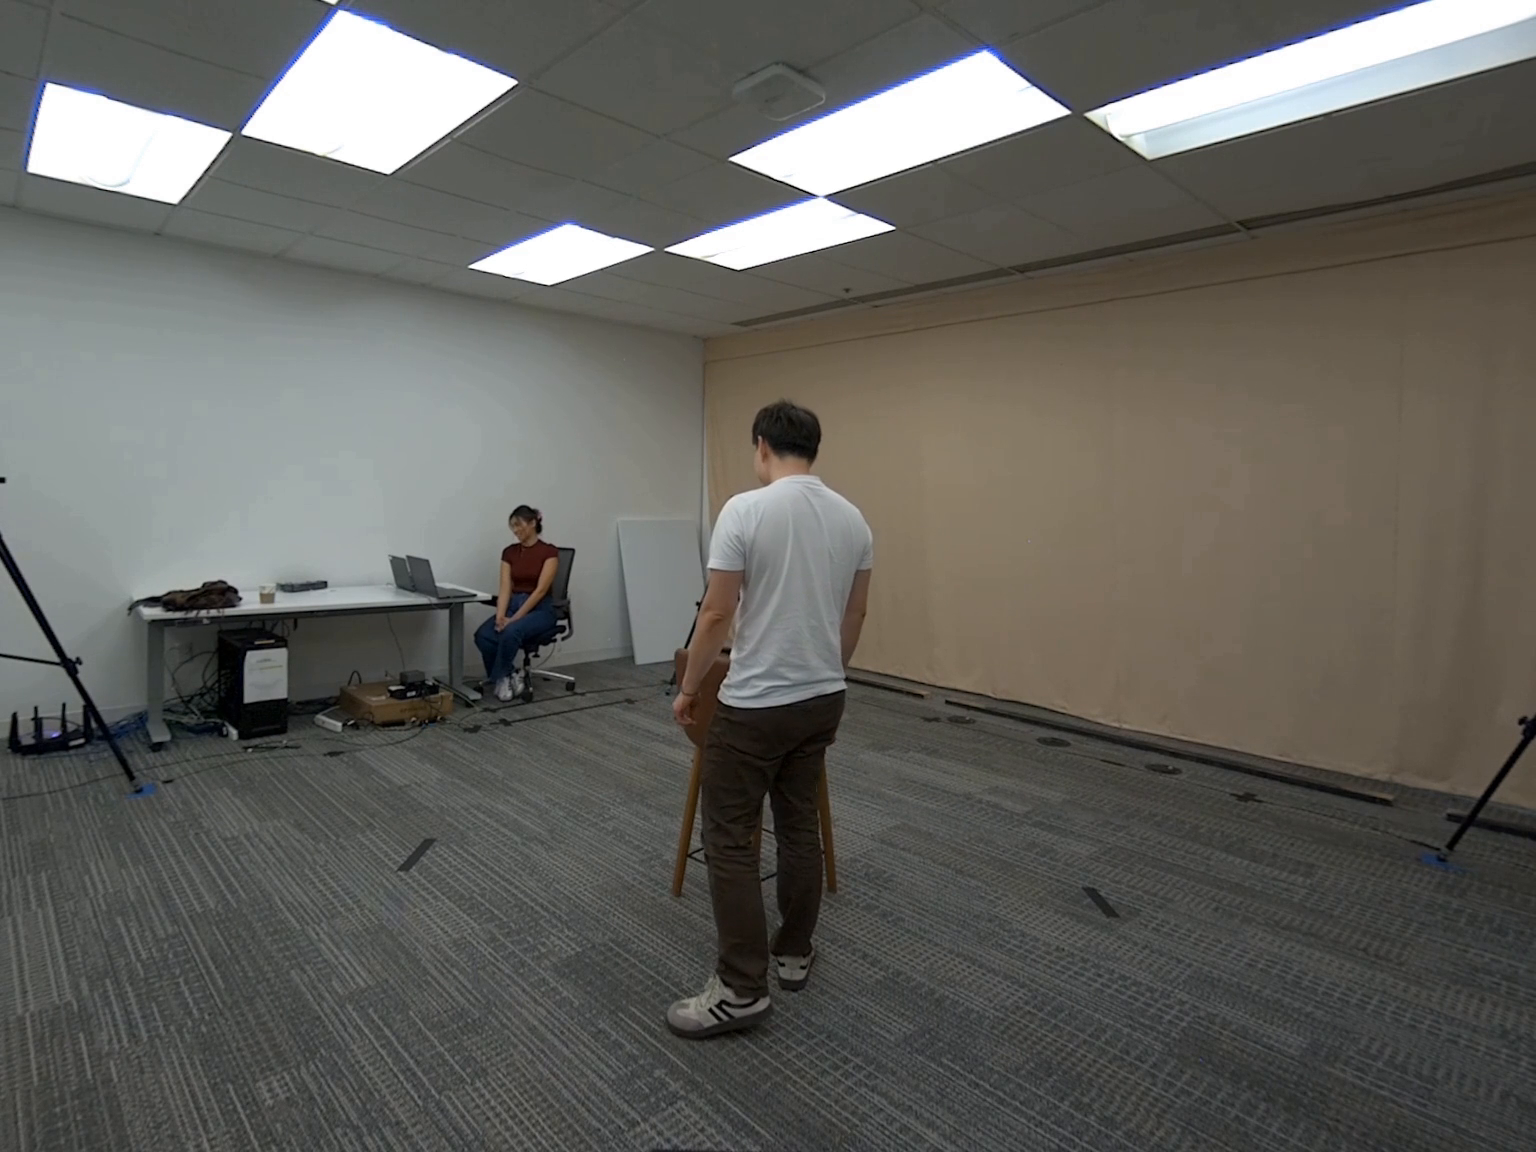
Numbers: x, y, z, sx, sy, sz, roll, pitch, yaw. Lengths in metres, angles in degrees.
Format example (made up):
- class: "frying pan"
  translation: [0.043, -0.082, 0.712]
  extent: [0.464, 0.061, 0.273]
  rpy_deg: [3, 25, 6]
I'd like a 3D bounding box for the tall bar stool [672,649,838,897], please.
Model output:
- class: "tall bar stool"
  translation: [-0.053, 0.685, 2.936]
  extent: [0.468, 0.886, 0.457]
  rpy_deg: [4, 7, 43]
